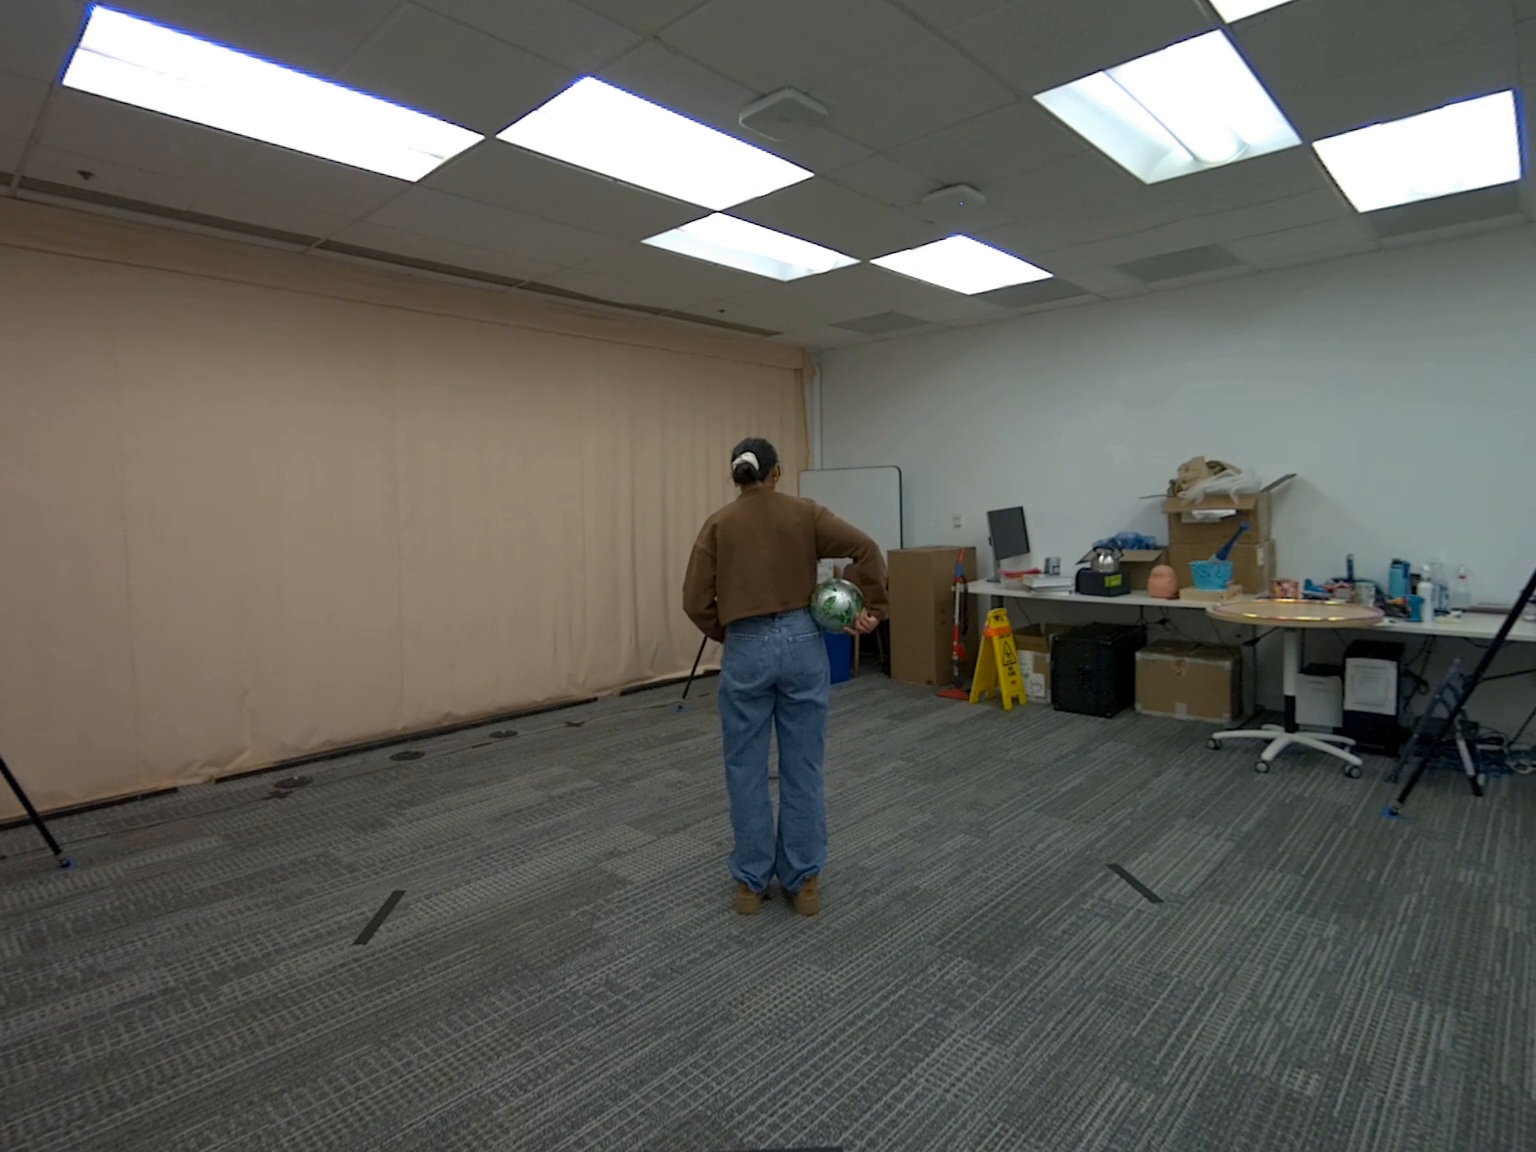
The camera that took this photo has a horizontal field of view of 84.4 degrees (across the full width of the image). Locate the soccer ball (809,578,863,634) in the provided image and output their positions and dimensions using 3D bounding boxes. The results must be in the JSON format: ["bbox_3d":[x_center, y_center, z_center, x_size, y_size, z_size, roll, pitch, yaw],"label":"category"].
[{"bbox_3d":[0.243,0.104,2.877,0.187,0.187,0.188,-1,4,-2],"label":"soccer ball"}]
